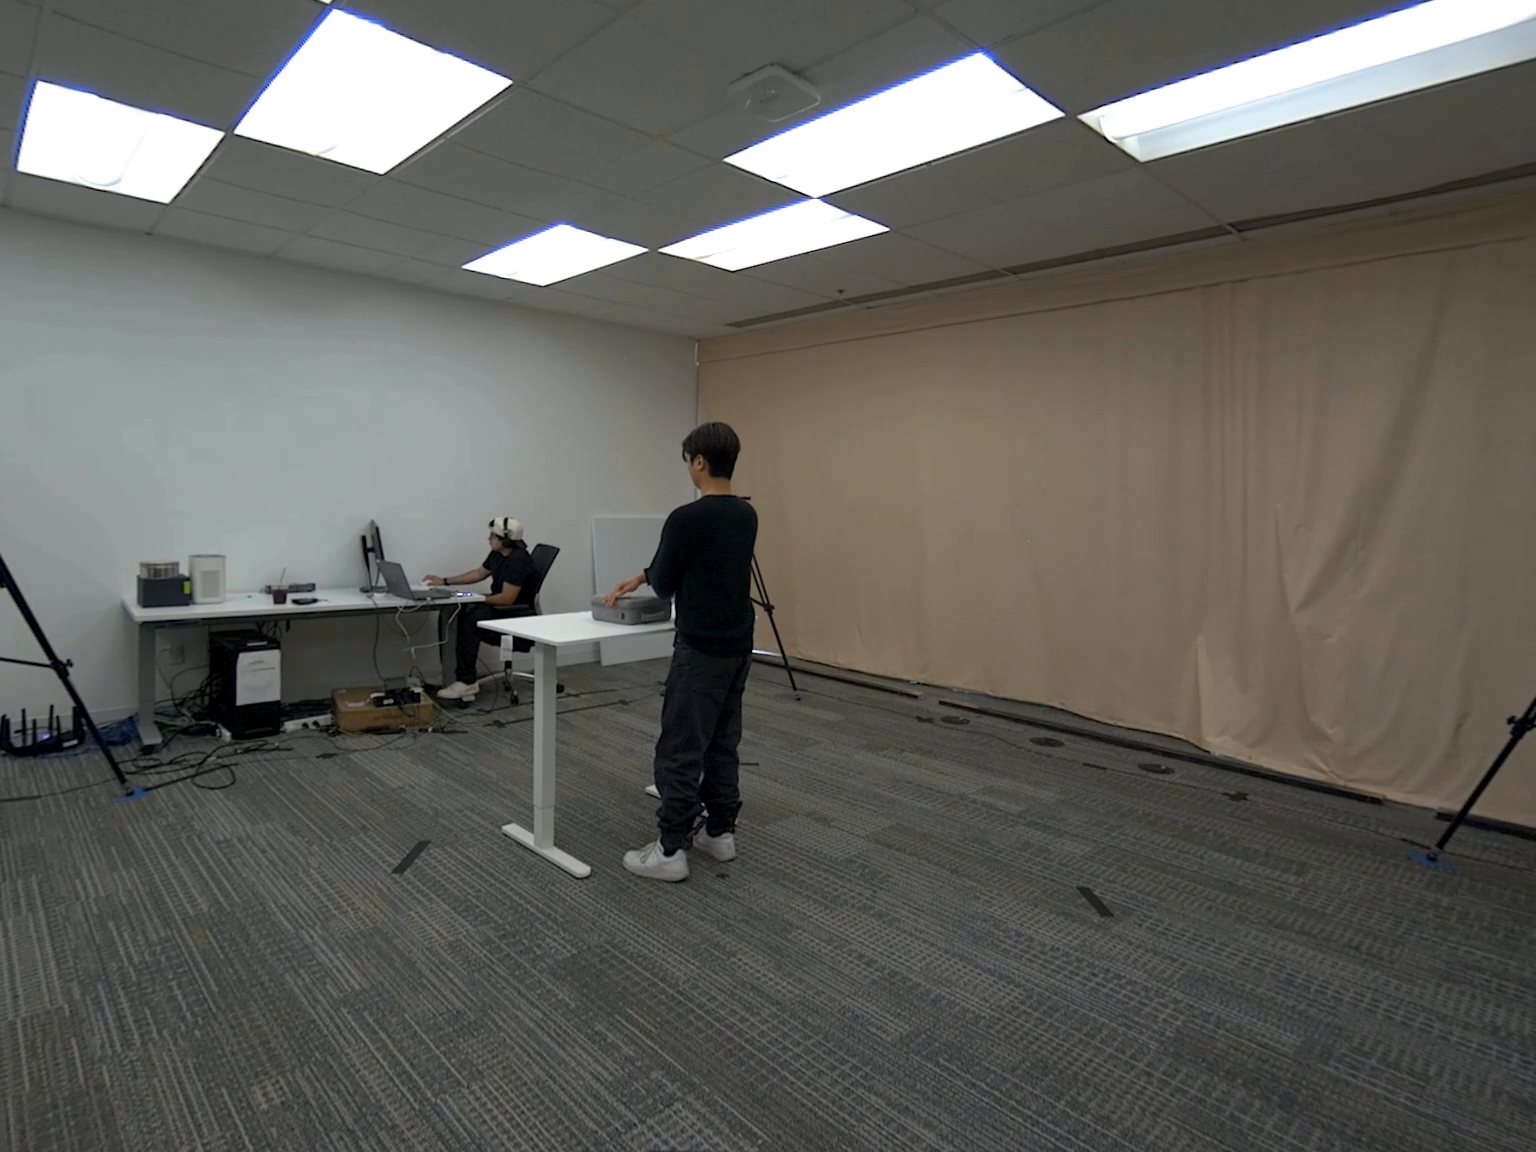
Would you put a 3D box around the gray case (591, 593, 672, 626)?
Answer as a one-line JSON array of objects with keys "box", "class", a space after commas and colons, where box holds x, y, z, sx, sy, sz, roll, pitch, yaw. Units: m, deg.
[{"box": [-0.565, 0.128, 3.472, 0.267, 0.104, 0.251, 6, 7, 40], "class": "gray case"}]
